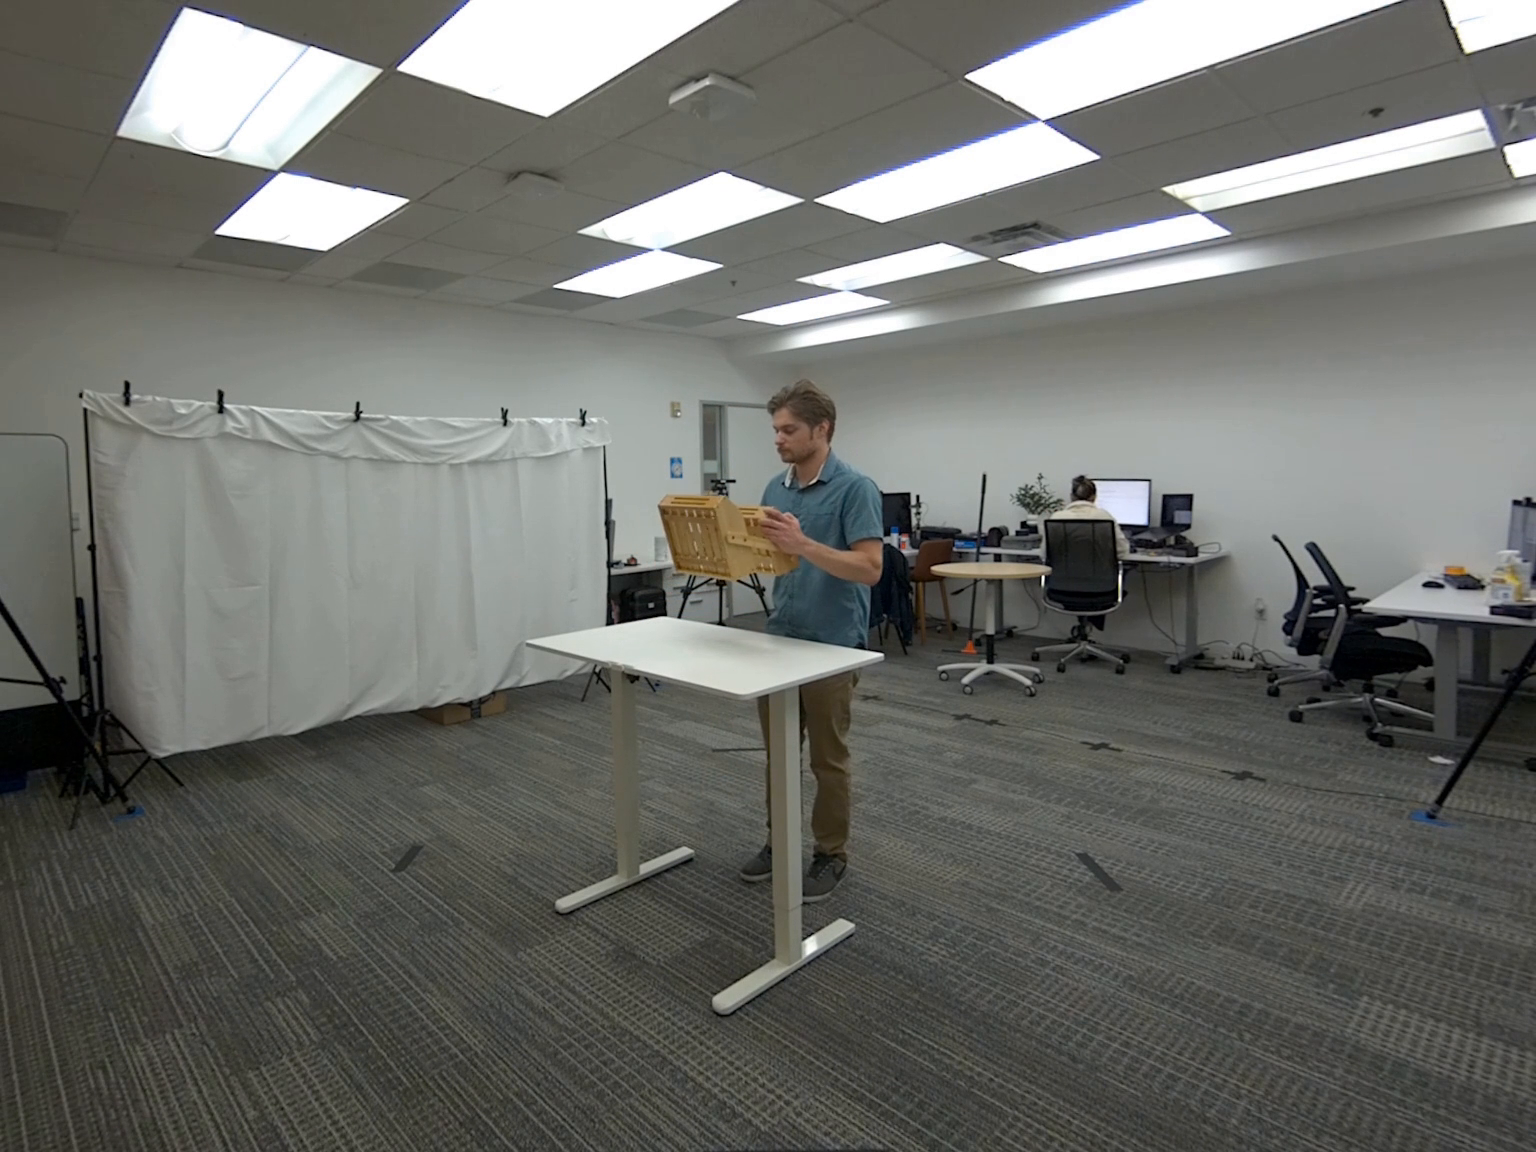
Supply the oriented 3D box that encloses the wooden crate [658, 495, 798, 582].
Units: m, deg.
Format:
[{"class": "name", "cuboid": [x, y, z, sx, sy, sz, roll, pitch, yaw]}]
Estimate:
[{"class": "wooden crate", "cuboid": [-0.122, -0.137, 2.675, 0.269, 0.297, 0.335, -26, 20, -34]}]
